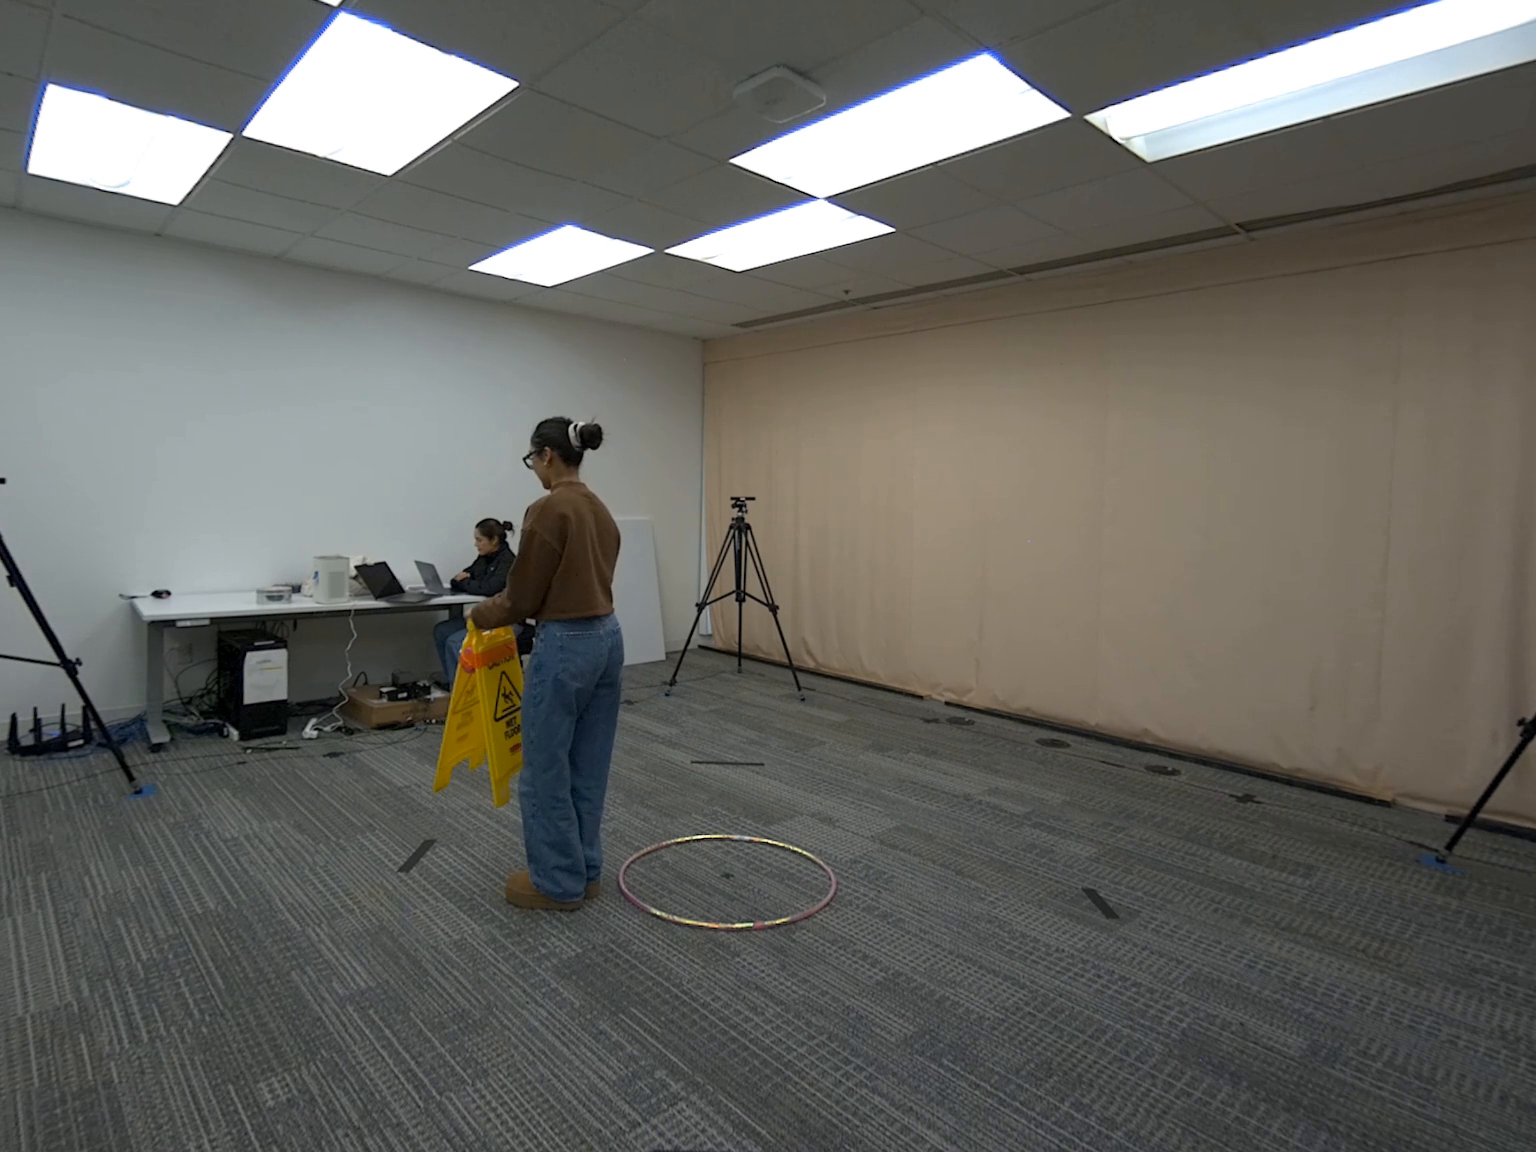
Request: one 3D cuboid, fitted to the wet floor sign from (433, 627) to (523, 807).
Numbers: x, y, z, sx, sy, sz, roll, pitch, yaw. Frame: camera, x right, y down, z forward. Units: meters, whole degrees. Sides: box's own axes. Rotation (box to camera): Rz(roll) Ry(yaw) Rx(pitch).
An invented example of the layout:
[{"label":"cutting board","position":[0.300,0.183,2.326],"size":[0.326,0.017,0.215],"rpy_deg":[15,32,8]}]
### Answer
[{"label":"wet floor sign","position":[-1.004,0.451,2.983],"size":[0.294,0.642,0.280],"rpy_deg":[5,9,17]}]
